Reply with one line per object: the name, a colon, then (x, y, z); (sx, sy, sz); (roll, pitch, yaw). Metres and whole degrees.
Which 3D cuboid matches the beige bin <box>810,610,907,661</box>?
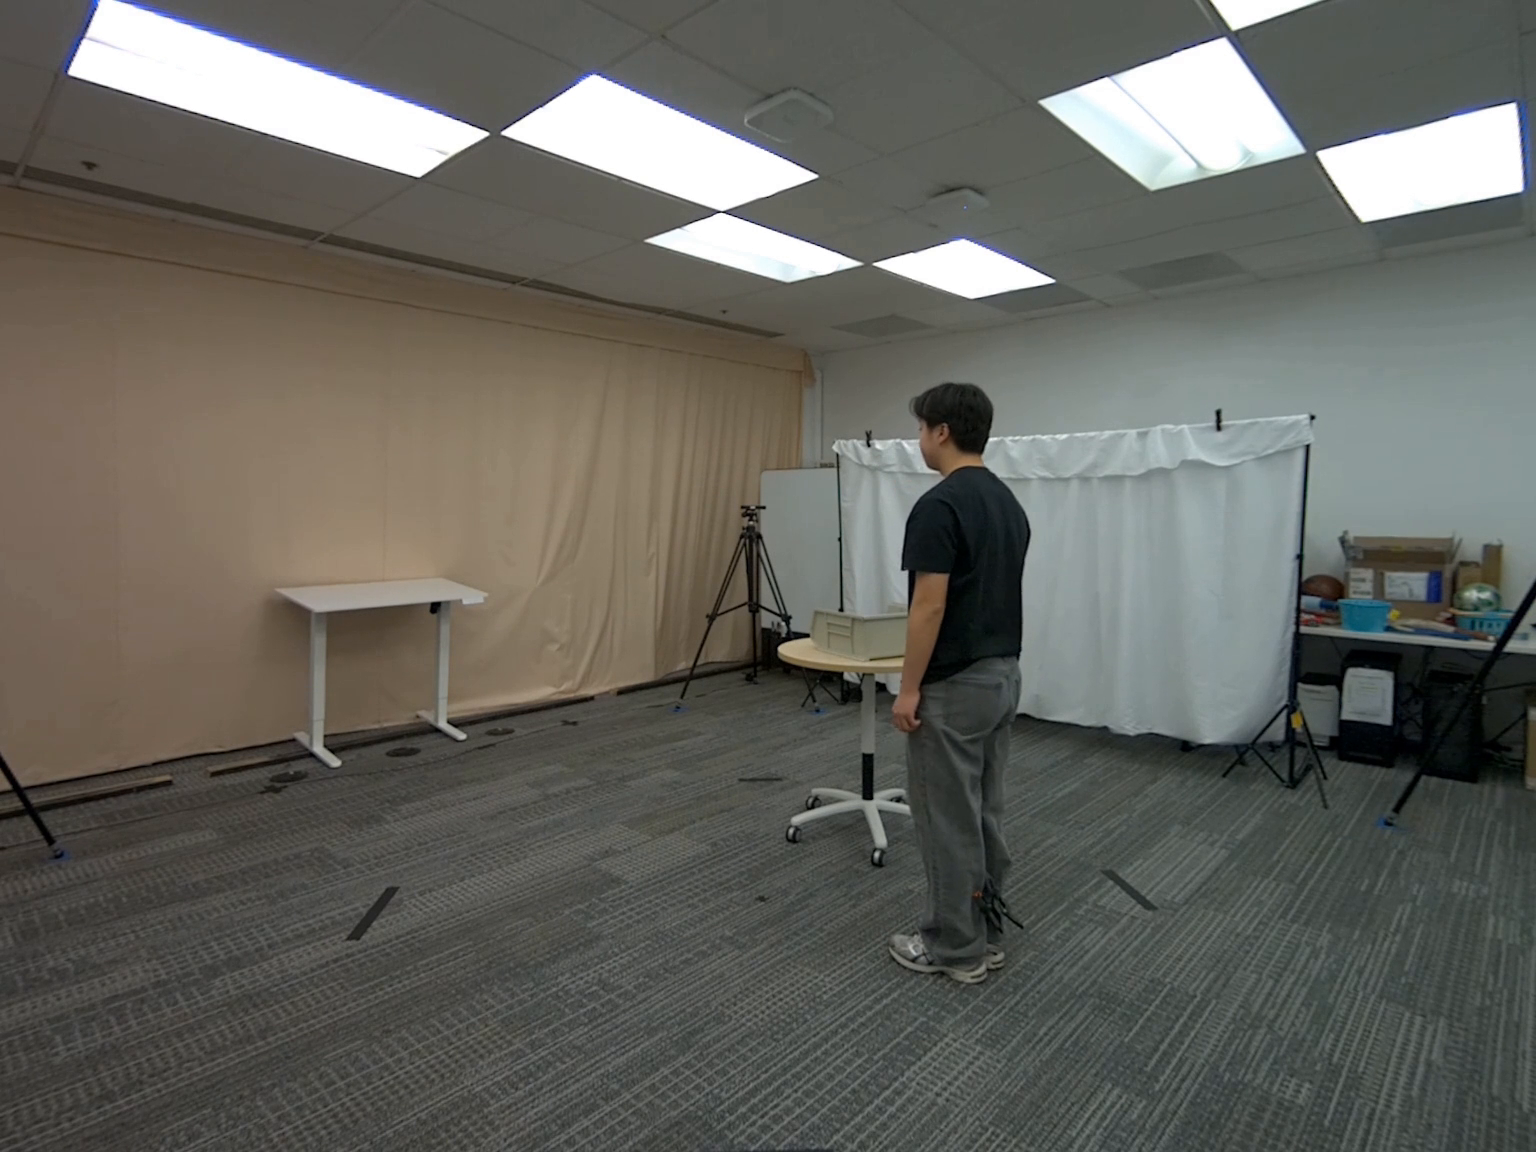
beige bin: (0.455, 0.226, 3.522); (0.411, 0.188, 0.388); (-3, 6, -30)
